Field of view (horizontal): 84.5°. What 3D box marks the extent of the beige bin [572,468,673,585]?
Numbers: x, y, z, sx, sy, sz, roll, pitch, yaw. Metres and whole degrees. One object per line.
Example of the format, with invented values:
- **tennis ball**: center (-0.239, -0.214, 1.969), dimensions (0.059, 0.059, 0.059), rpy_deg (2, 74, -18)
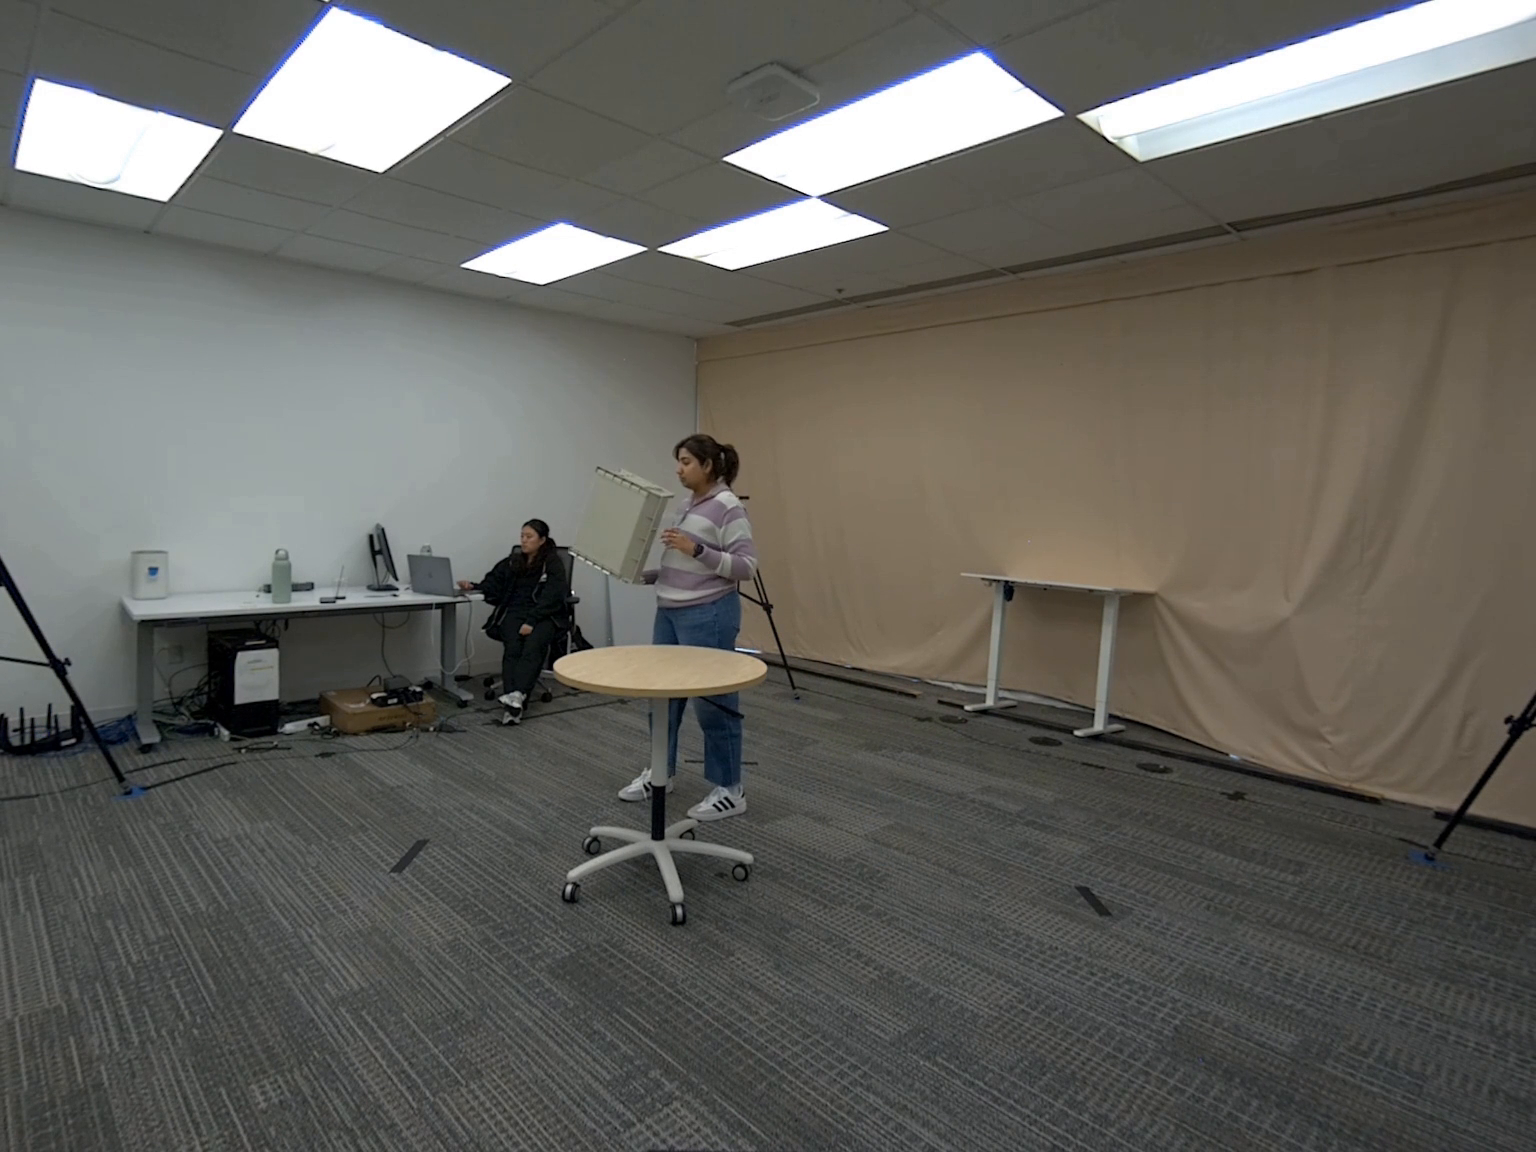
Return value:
- **beige bin**: center (-0.642, -0.221, 3.700), dimensions (0.387, 0.420, 0.185), rpy_deg (26, 11, 28)
